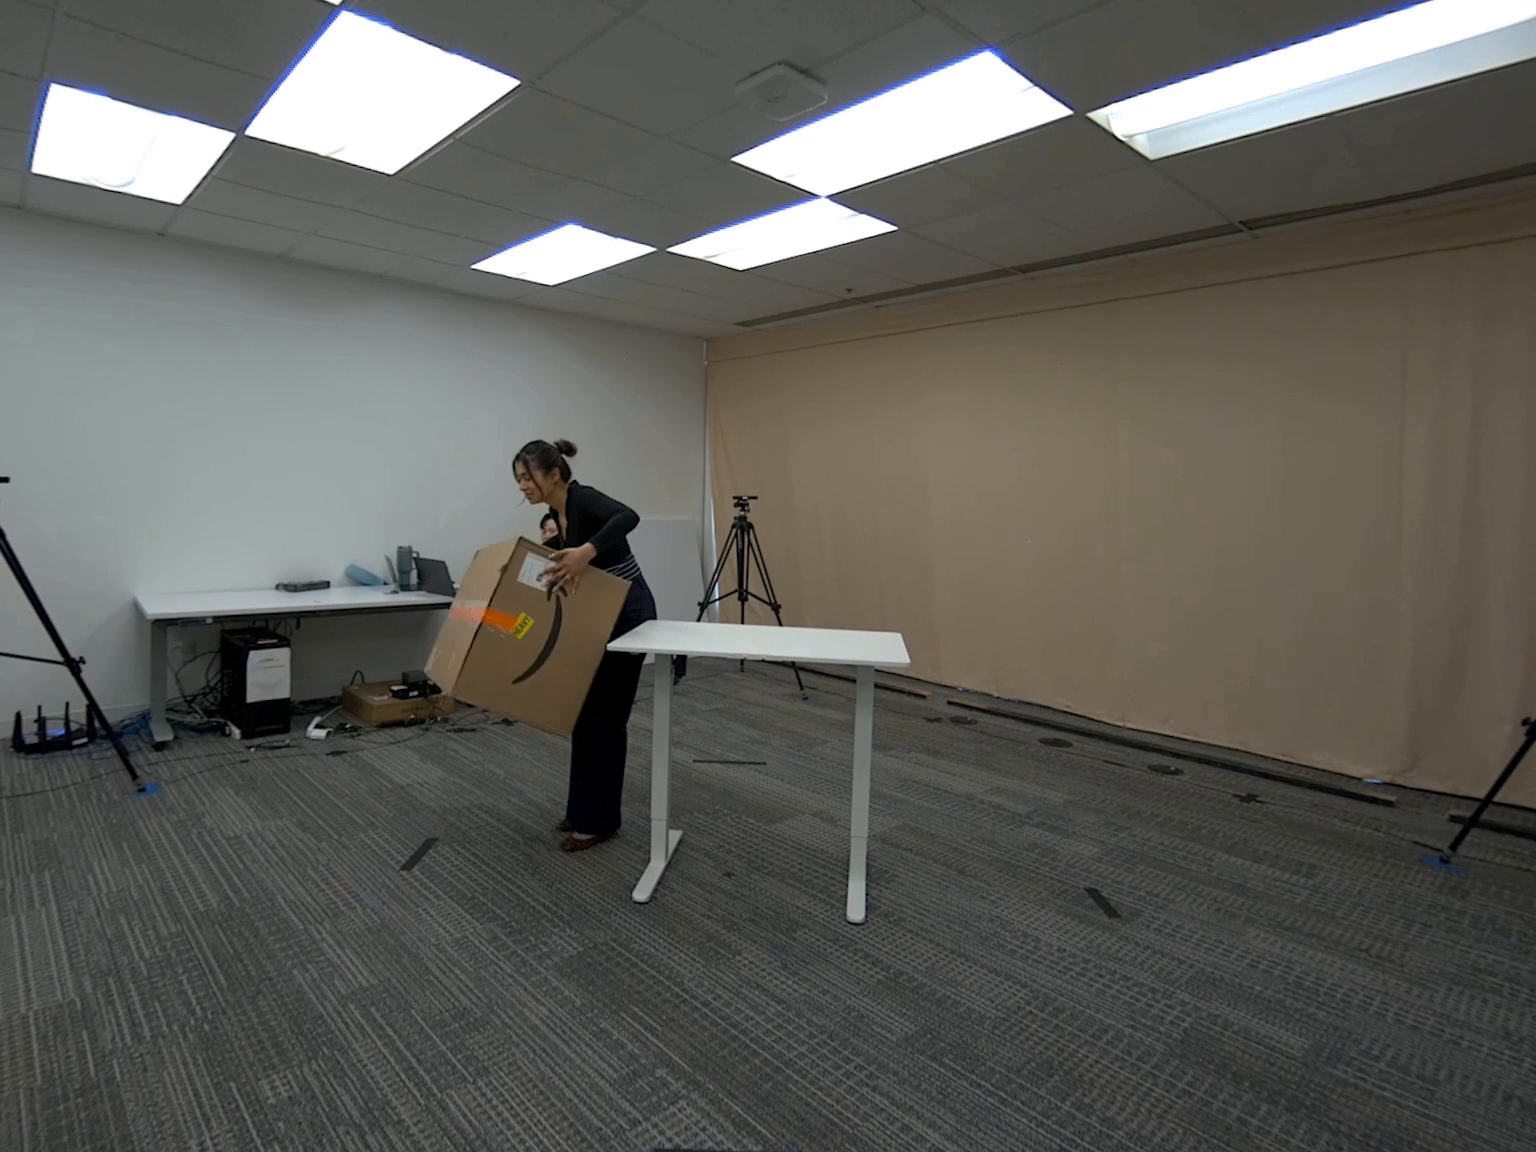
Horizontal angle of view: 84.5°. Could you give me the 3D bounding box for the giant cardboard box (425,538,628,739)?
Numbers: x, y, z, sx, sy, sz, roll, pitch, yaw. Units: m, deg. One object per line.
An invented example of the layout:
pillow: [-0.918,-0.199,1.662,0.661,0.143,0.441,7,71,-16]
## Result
giant cardboard box: [-0.985,0.212,3.281,0.417,0.580,1.043,25,-12,-24]
